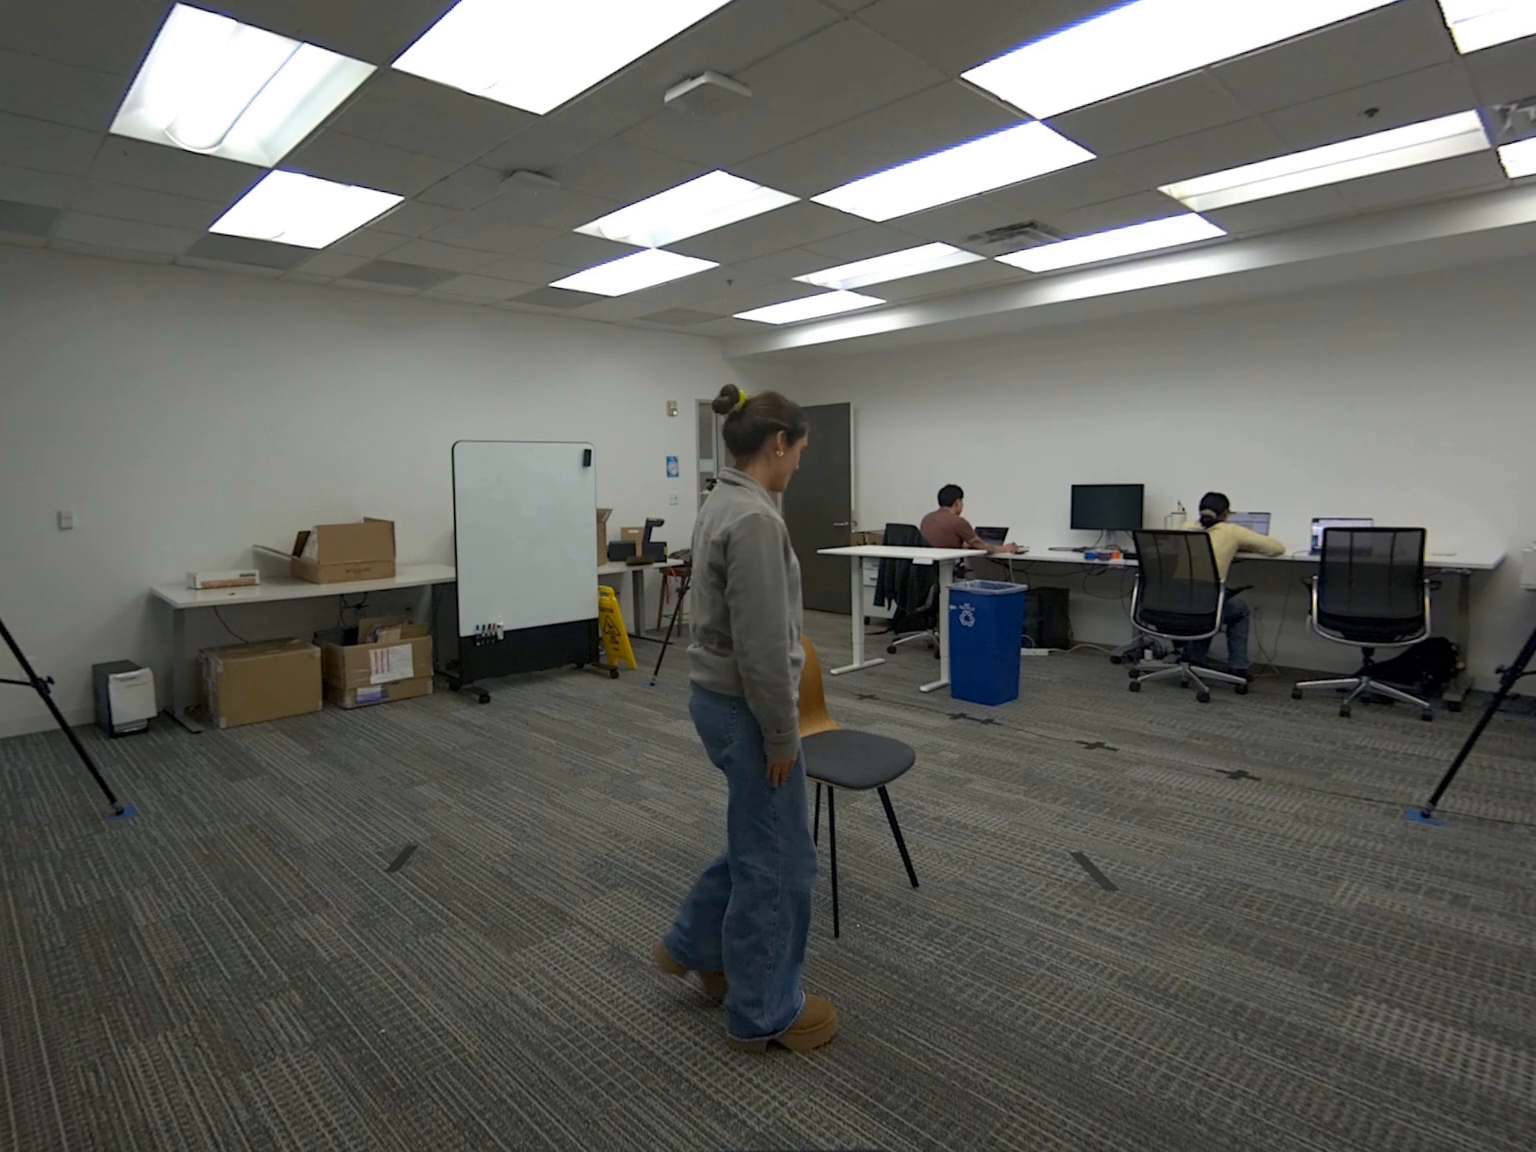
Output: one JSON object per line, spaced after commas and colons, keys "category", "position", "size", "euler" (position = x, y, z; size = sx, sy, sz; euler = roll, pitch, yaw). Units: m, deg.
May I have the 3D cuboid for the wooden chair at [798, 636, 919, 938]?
{"category": "wooden chair", "position": [0.196, 0.639, 2.870], "size": [0.537, 0.877, 0.465], "euler": [-3, 1, 43]}
